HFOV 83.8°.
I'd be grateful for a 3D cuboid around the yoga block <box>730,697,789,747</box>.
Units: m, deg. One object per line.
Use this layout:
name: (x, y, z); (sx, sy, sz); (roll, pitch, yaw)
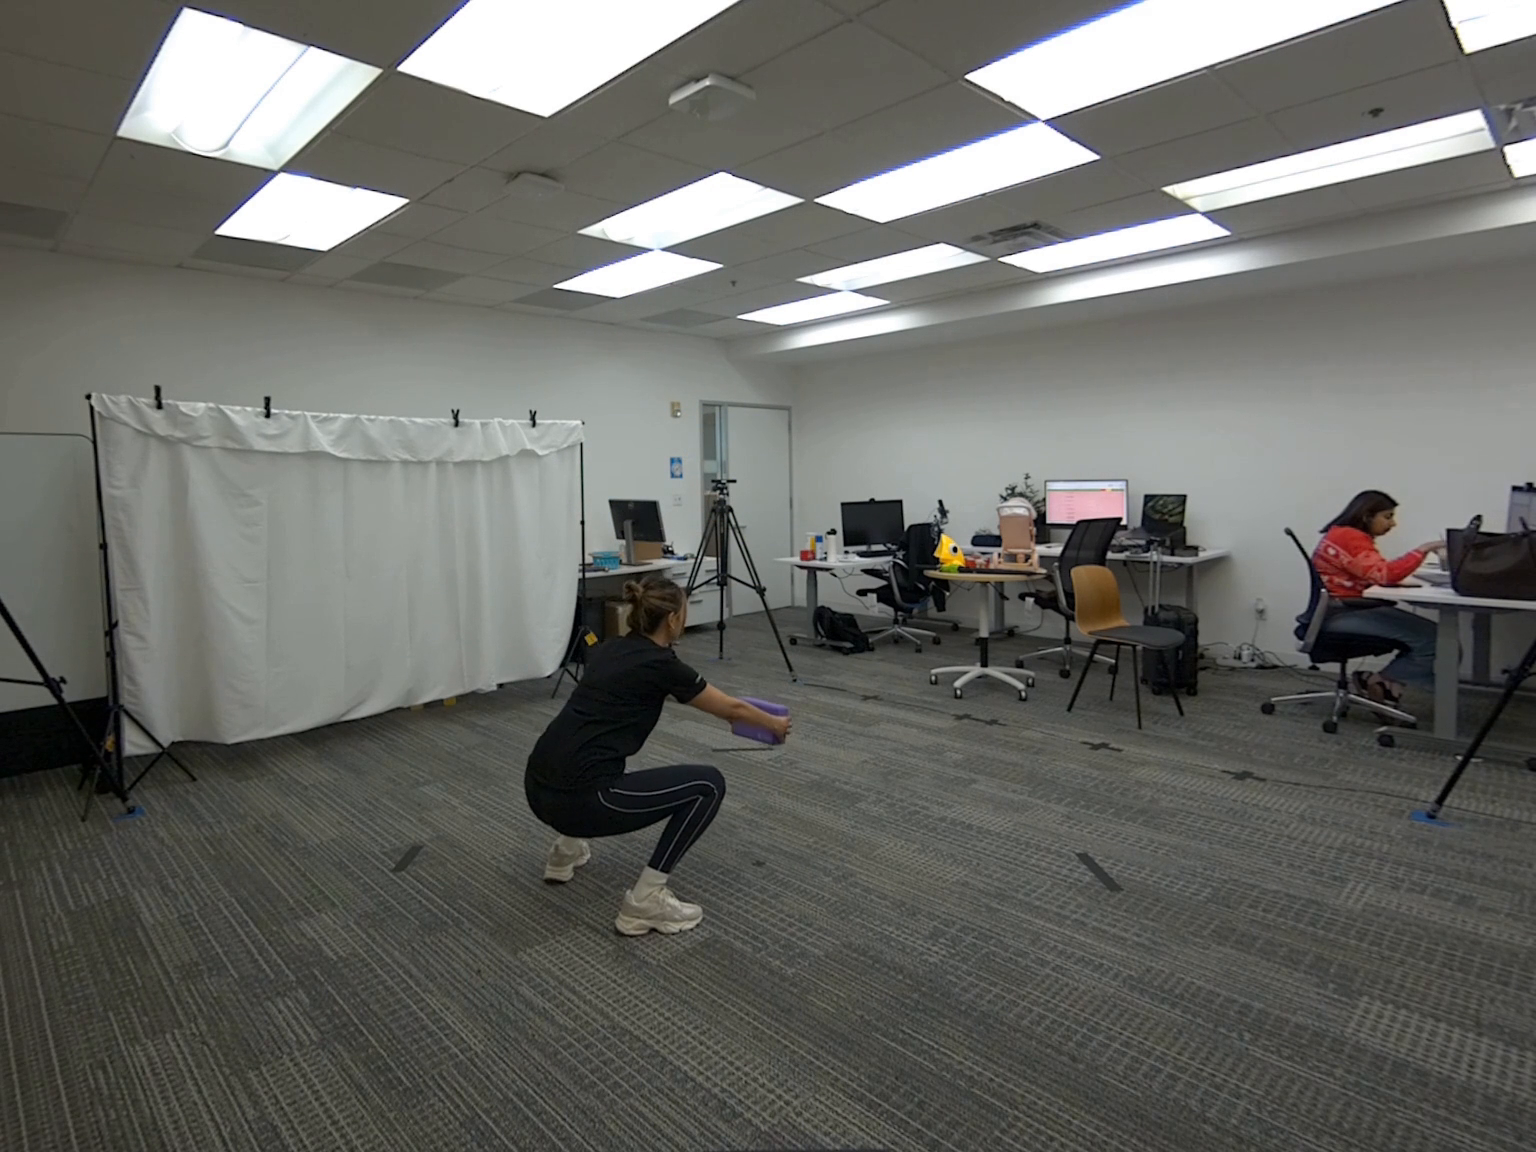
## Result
yoga block: (-0.032, 0.569, 3.357); (0.236, 0.149, 0.074); (5, 0, 43)
